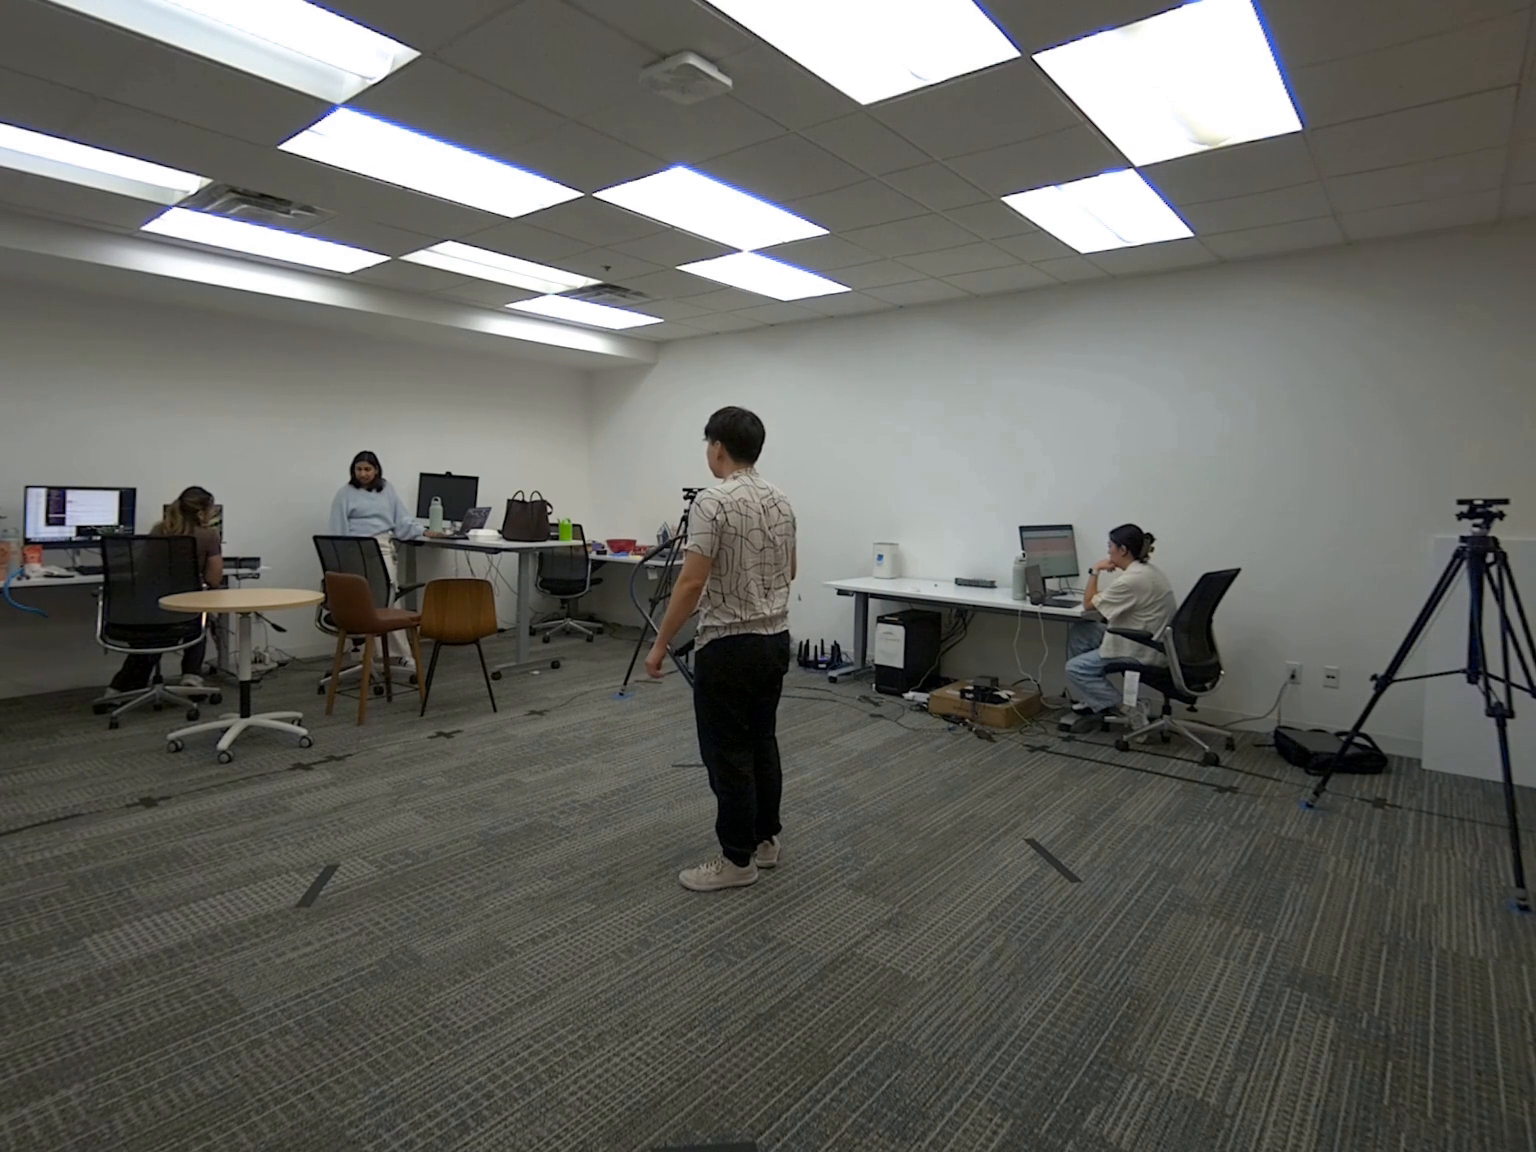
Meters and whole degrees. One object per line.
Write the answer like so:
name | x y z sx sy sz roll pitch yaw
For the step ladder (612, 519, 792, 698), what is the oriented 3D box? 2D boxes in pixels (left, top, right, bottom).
step ladder | -0.285 0.140 3.495 0.430 0.592 0.358 -34 17 -4
